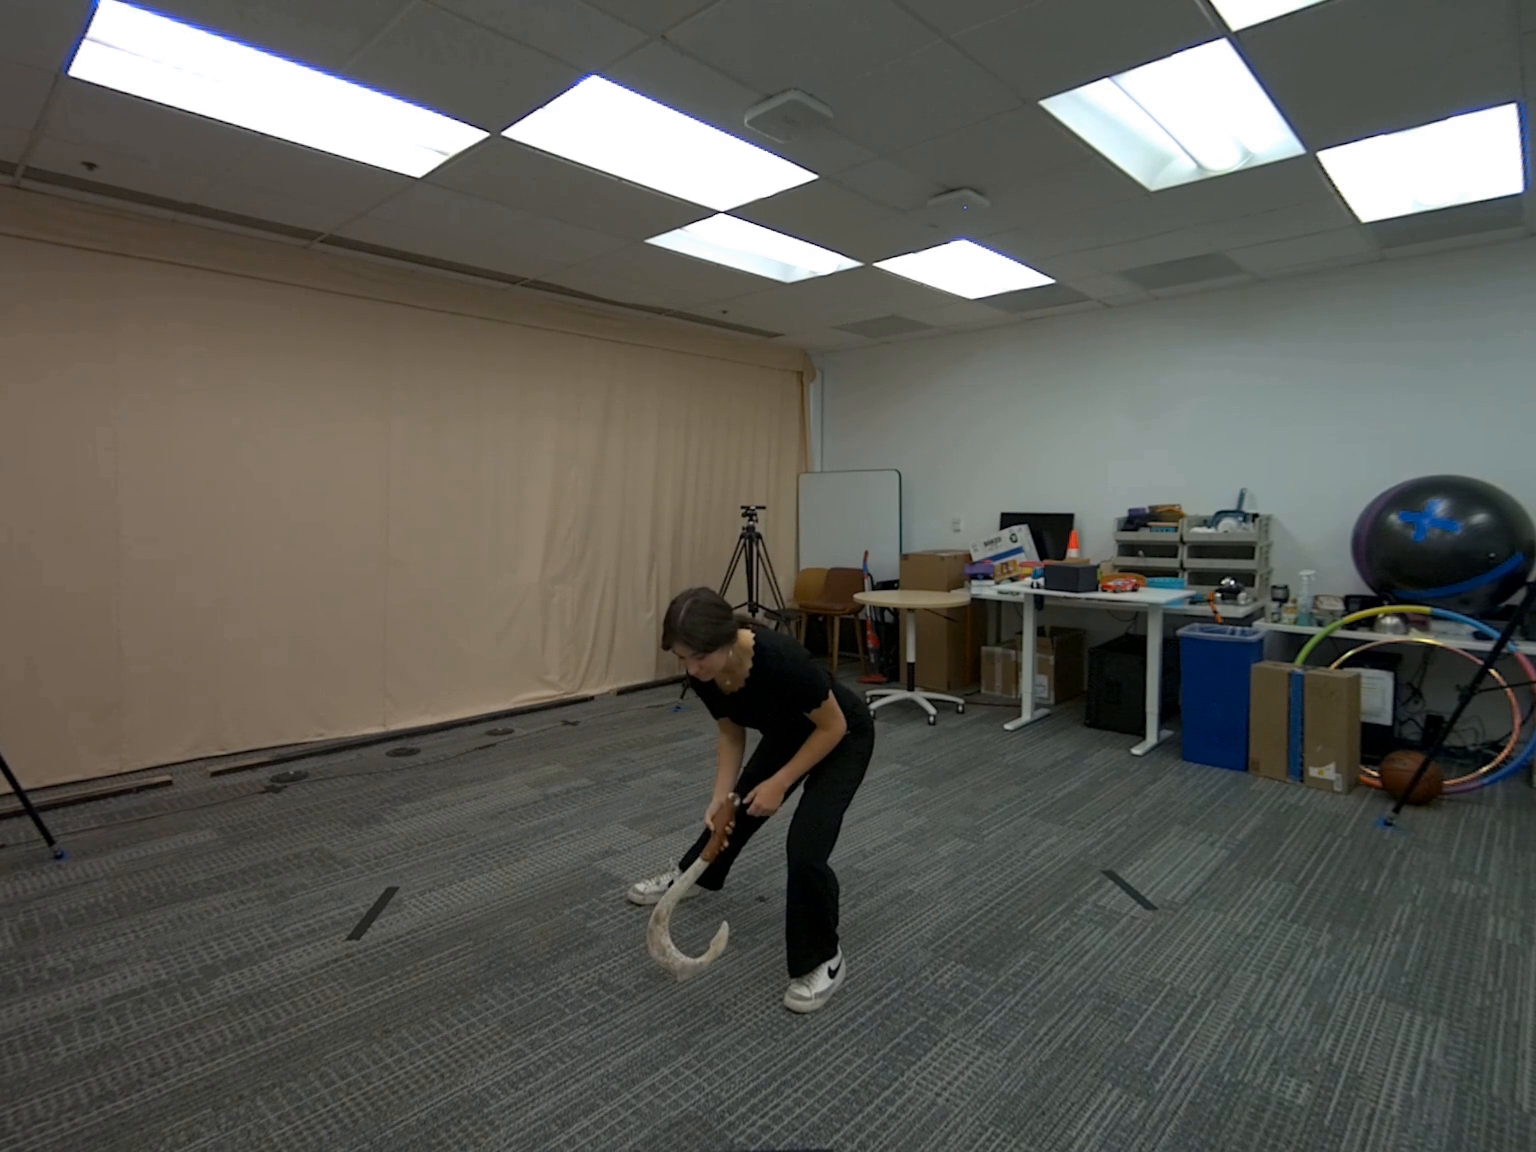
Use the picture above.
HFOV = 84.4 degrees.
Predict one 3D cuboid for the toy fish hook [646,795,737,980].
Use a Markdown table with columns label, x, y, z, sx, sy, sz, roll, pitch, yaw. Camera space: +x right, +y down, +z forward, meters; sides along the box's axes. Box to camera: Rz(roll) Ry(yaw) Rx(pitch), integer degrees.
| label | x | y | z | sx | sy | sz | roll | pitch | yaw |
| --- | --- | --- | --- | --- | --- | --- | --- | --- | --- |
| toy fish hook | -0.163 | 0.867 | 2.357 | 0.230 | 0.507 | 0.047 | 22 | -8 | 19 |
